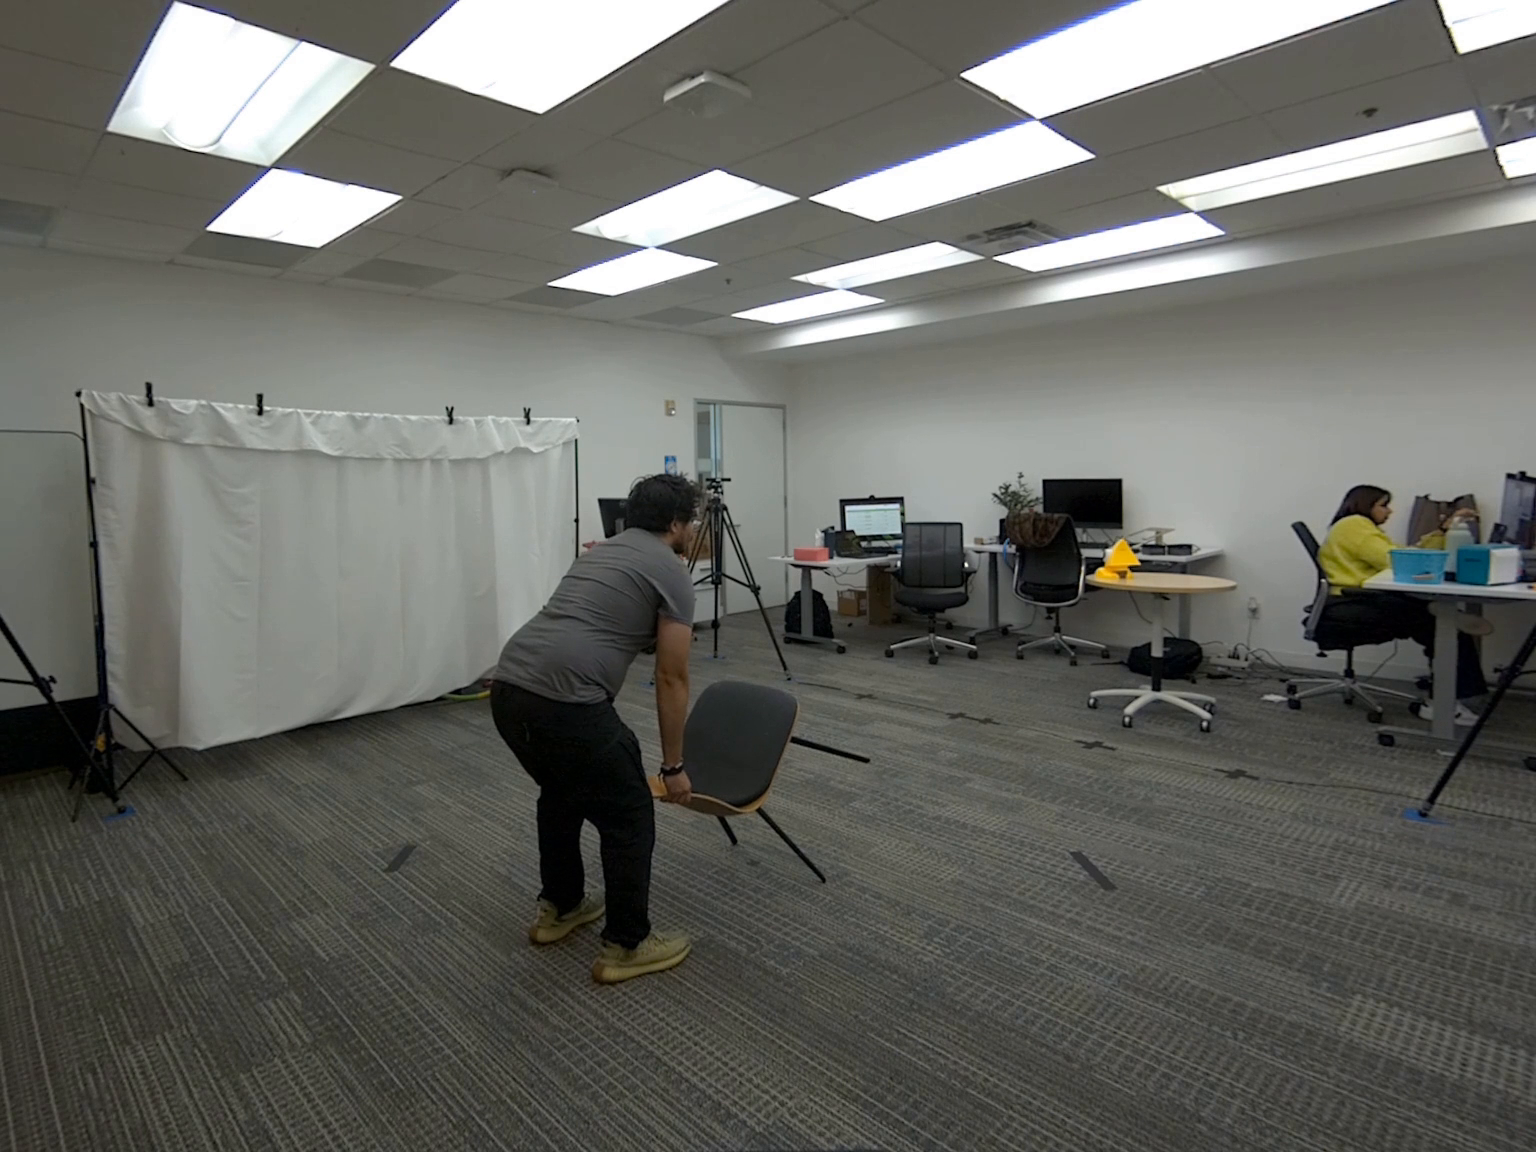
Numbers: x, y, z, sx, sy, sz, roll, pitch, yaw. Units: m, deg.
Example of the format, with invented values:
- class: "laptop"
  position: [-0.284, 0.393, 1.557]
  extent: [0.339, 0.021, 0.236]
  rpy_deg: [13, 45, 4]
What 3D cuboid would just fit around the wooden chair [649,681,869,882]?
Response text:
- class: "wooden chair"
  position: [-0.110, 0.622, 2.932]
  extent: [0.493, 0.527, 0.843]
  rpy_deg: [4, -25, 44]
